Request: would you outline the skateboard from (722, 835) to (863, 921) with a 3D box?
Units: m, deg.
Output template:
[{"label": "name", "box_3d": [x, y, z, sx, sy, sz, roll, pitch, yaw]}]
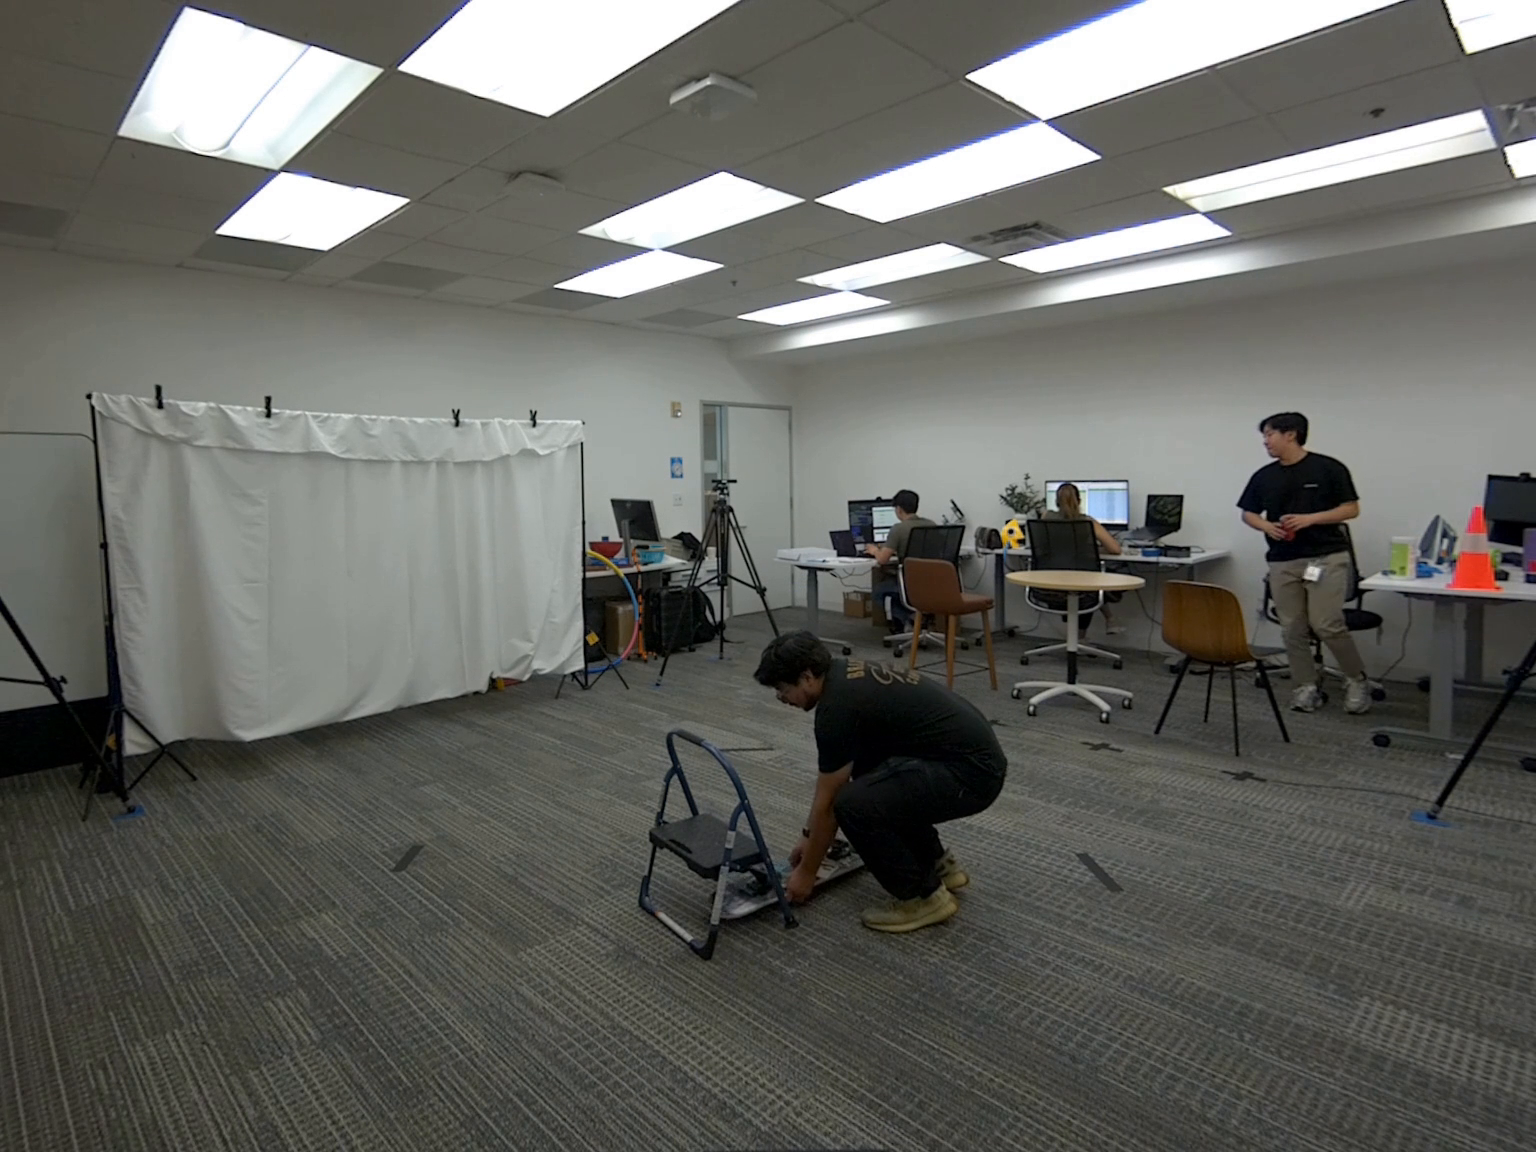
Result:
[{"label": "skateboard", "box_3d": [0.120, 0.998, 2.944, 0.764, 0.110, 0.199, -6, 5, -42]}]
